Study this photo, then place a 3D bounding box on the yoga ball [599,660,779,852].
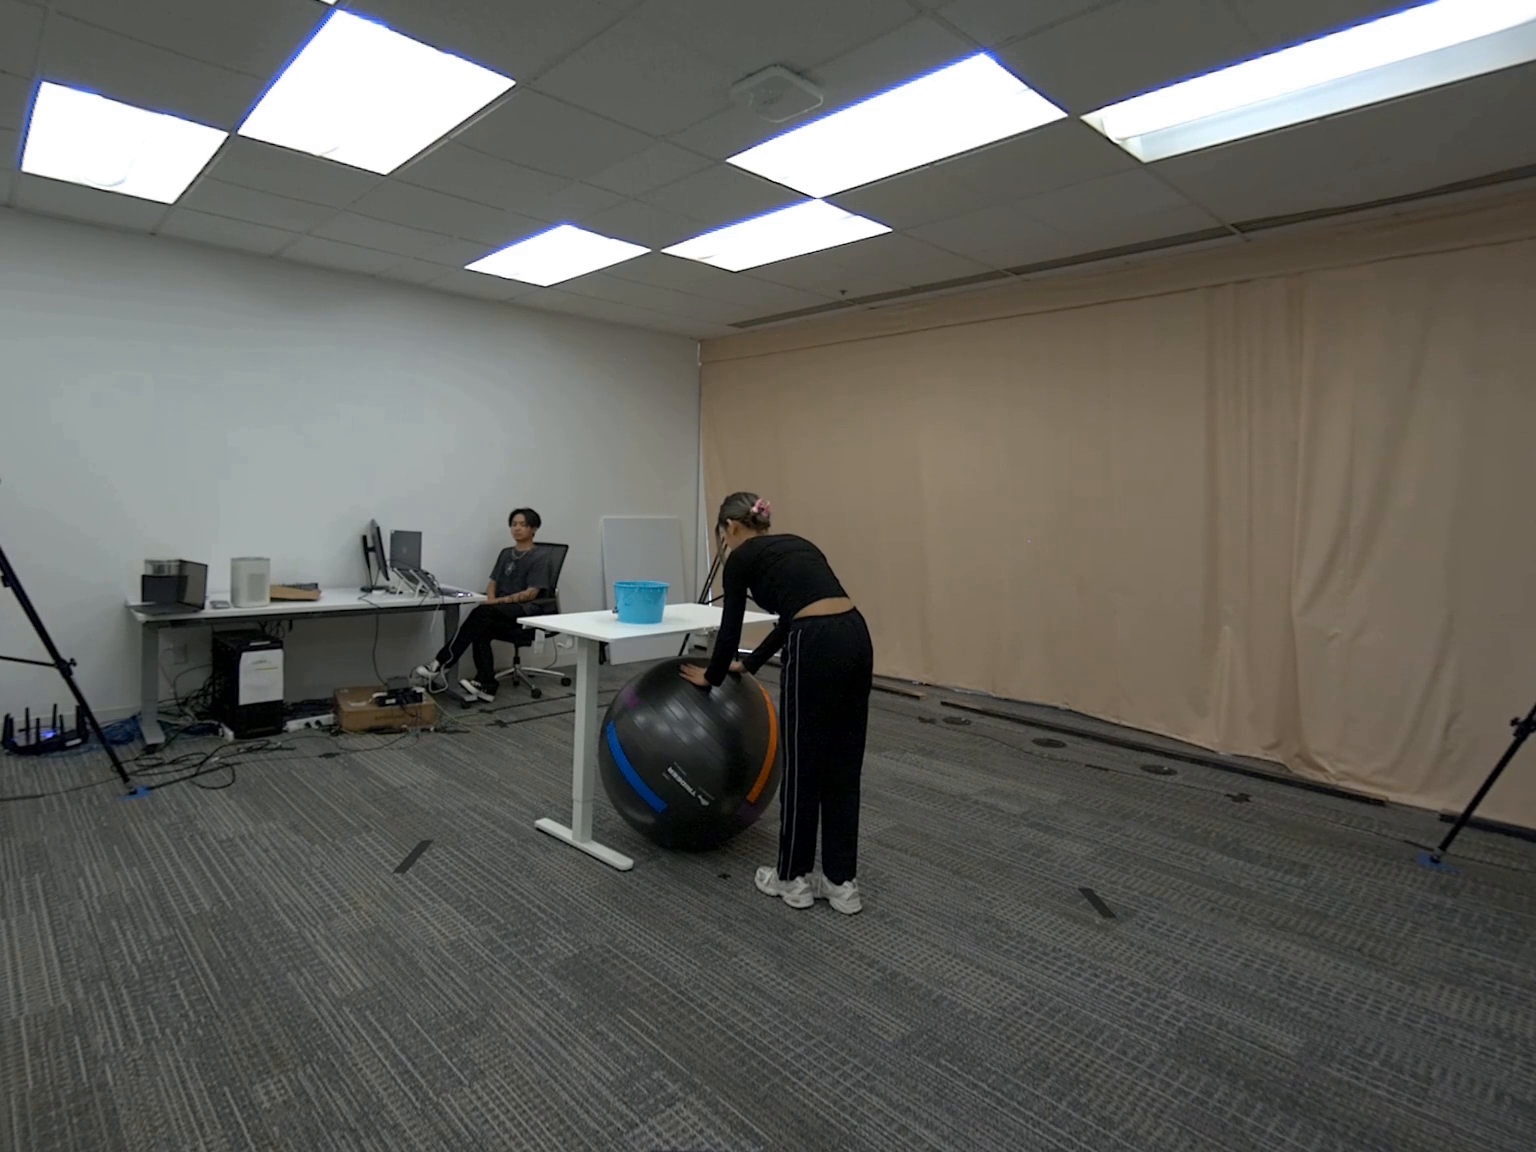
[{"bbox_3d":[-0.315,0.707,3.431,0.757,0.756,0.760,1,4,-1],"label":"yoga ball"}]
